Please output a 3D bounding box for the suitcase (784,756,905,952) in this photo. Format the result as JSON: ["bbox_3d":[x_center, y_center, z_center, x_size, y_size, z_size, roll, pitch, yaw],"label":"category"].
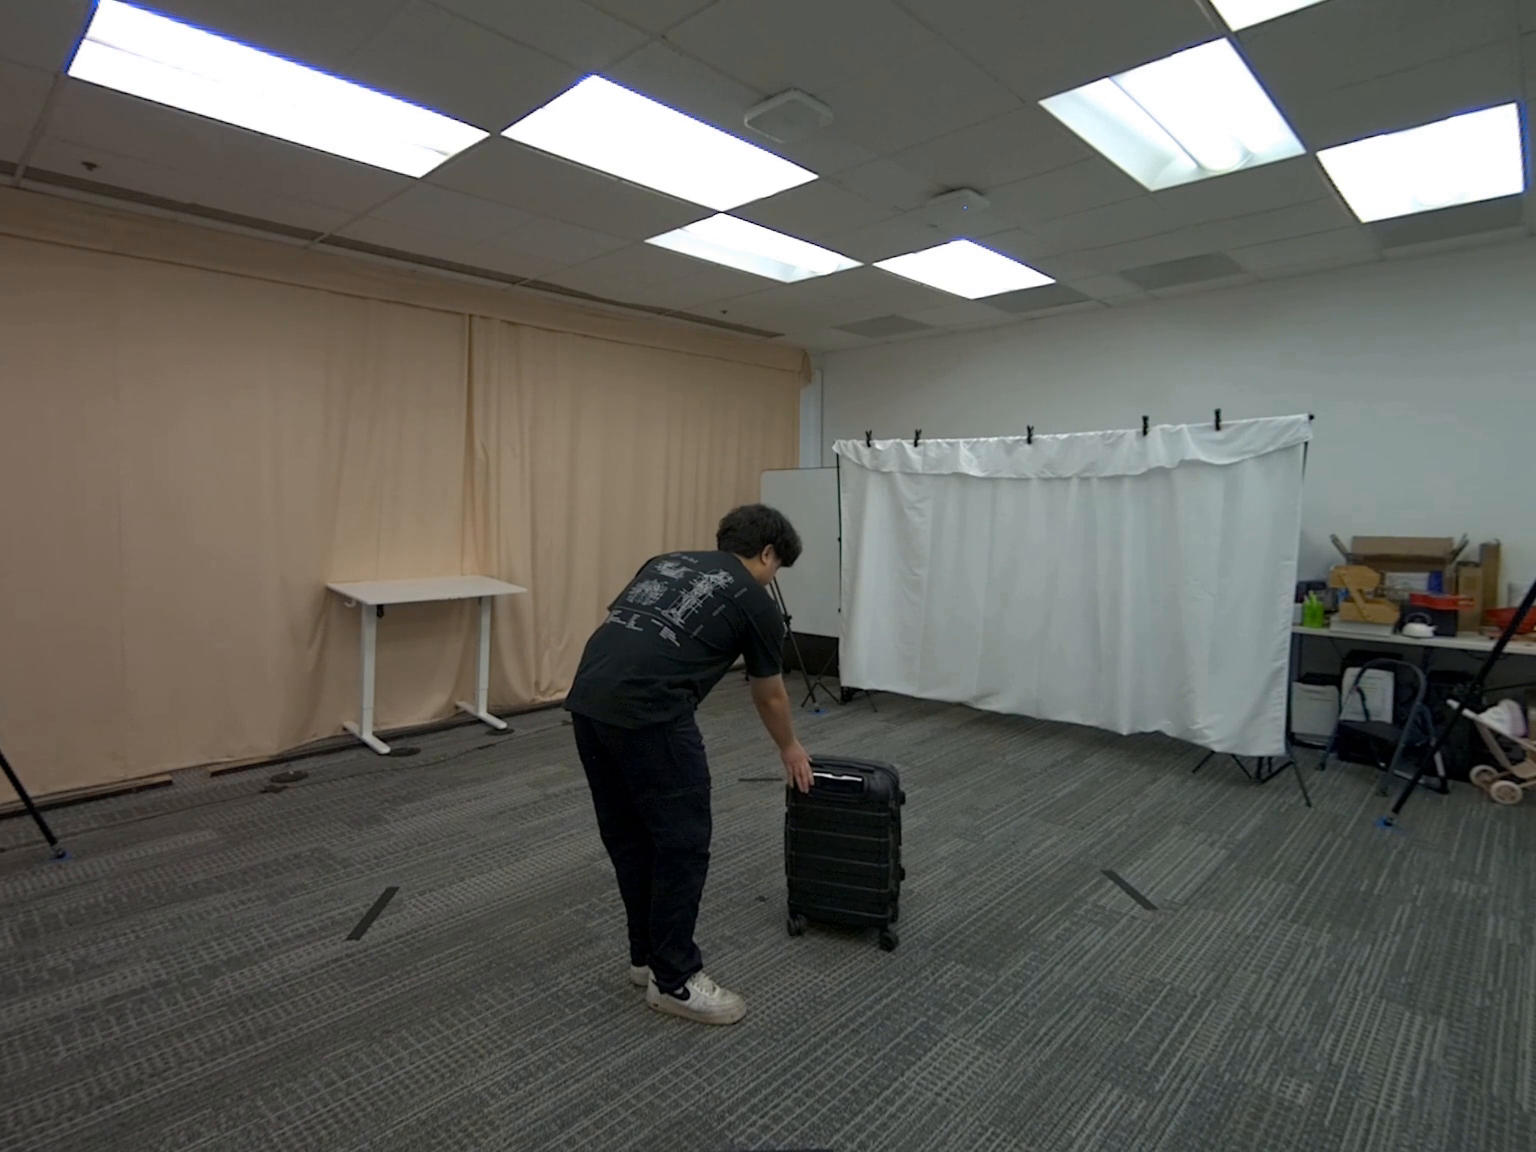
[{"bbox_3d":[0.256,0.884,2.792,0.383,0.549,0.243,0,1,20],"label":"suitcase"}]
